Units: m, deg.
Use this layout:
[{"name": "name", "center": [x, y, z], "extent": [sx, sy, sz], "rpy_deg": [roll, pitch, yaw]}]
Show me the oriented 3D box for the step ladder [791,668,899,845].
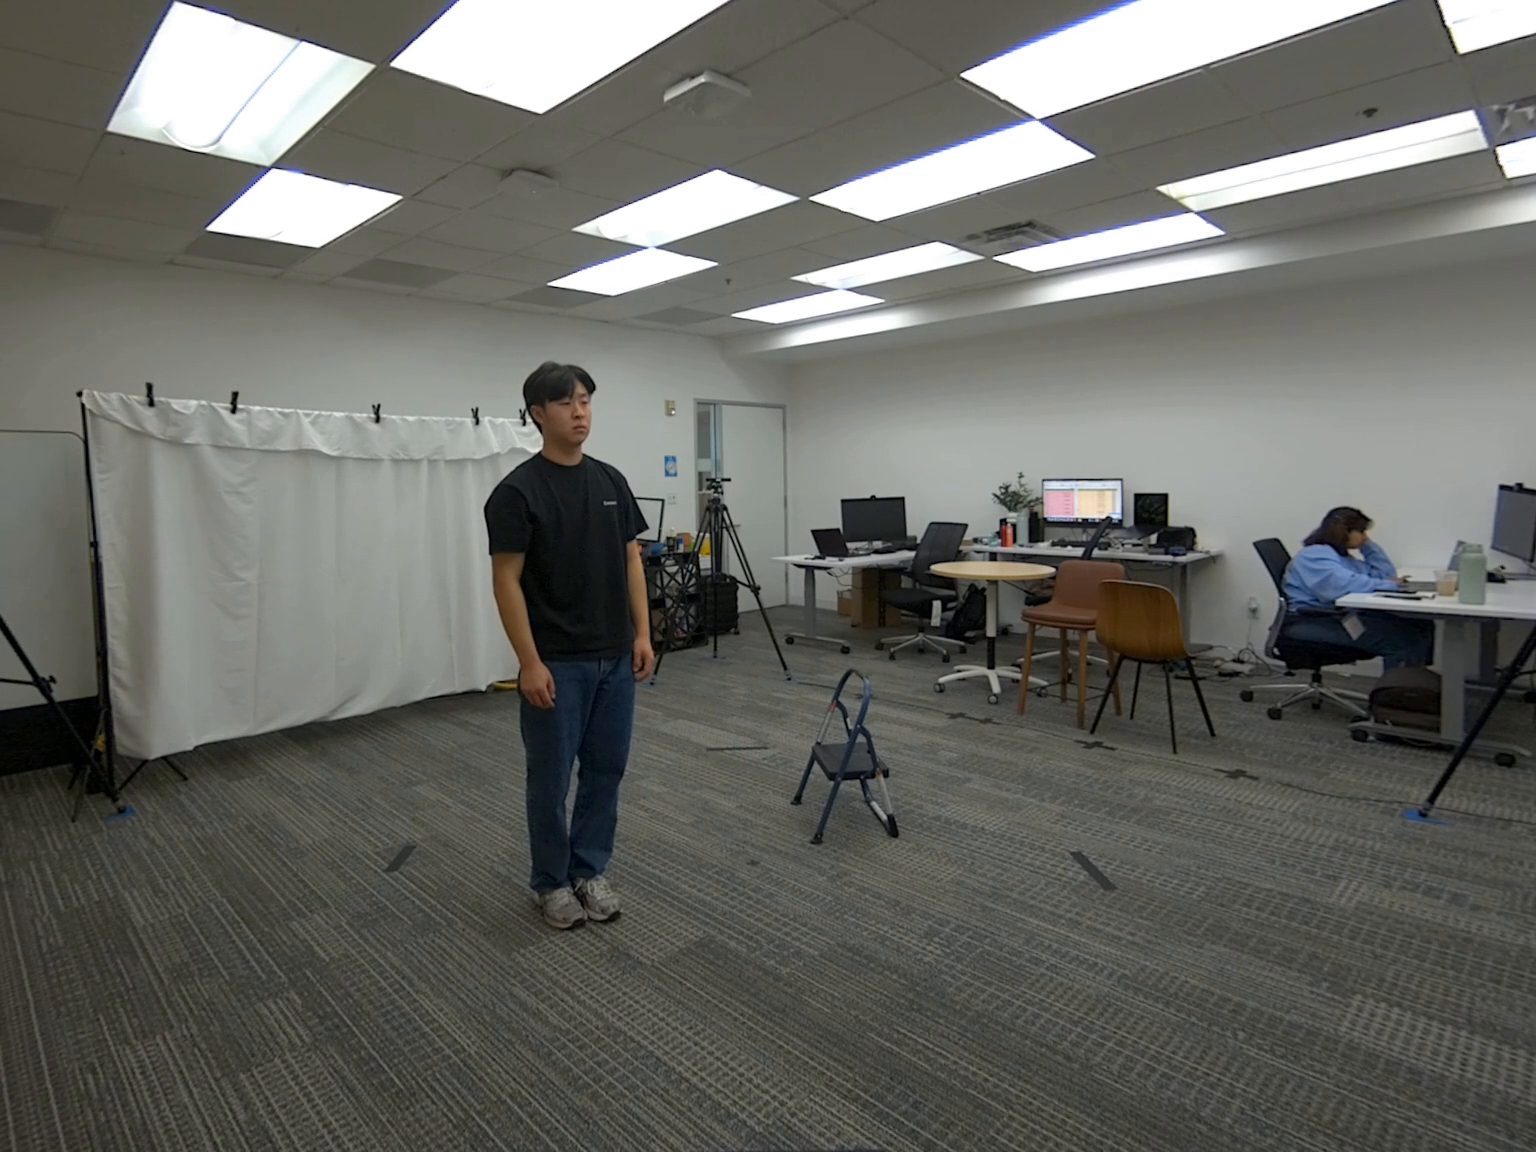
[{"name": "step ladder", "center": [0.292, 0.693, 3.461], "extent": [0.347, 0.603, 0.436], "rpy_deg": [-2, 5, -9]}]
